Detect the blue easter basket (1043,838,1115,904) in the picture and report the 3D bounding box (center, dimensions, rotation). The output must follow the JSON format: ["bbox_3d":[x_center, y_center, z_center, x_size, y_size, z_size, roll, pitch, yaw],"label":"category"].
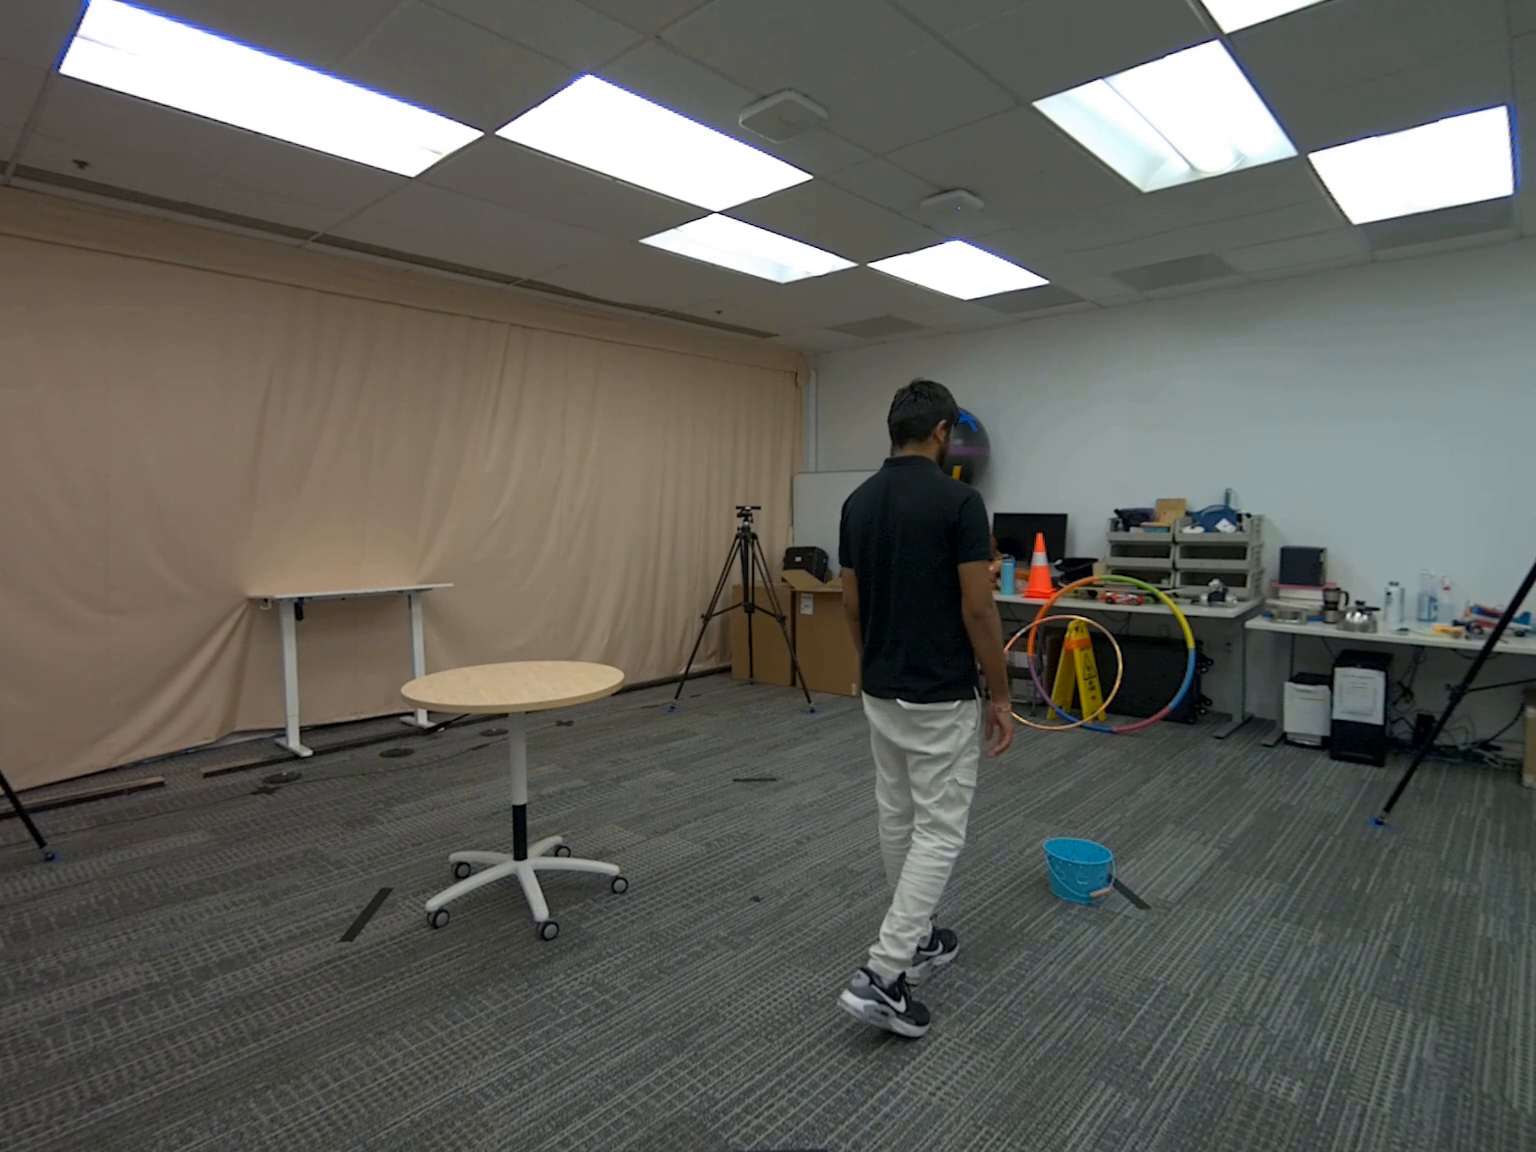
[{"bbox_3d":[1.119,1.065,3.024,0.243,0.155,0.244,-1,3,-2],"label":"blue easter basket"}]
